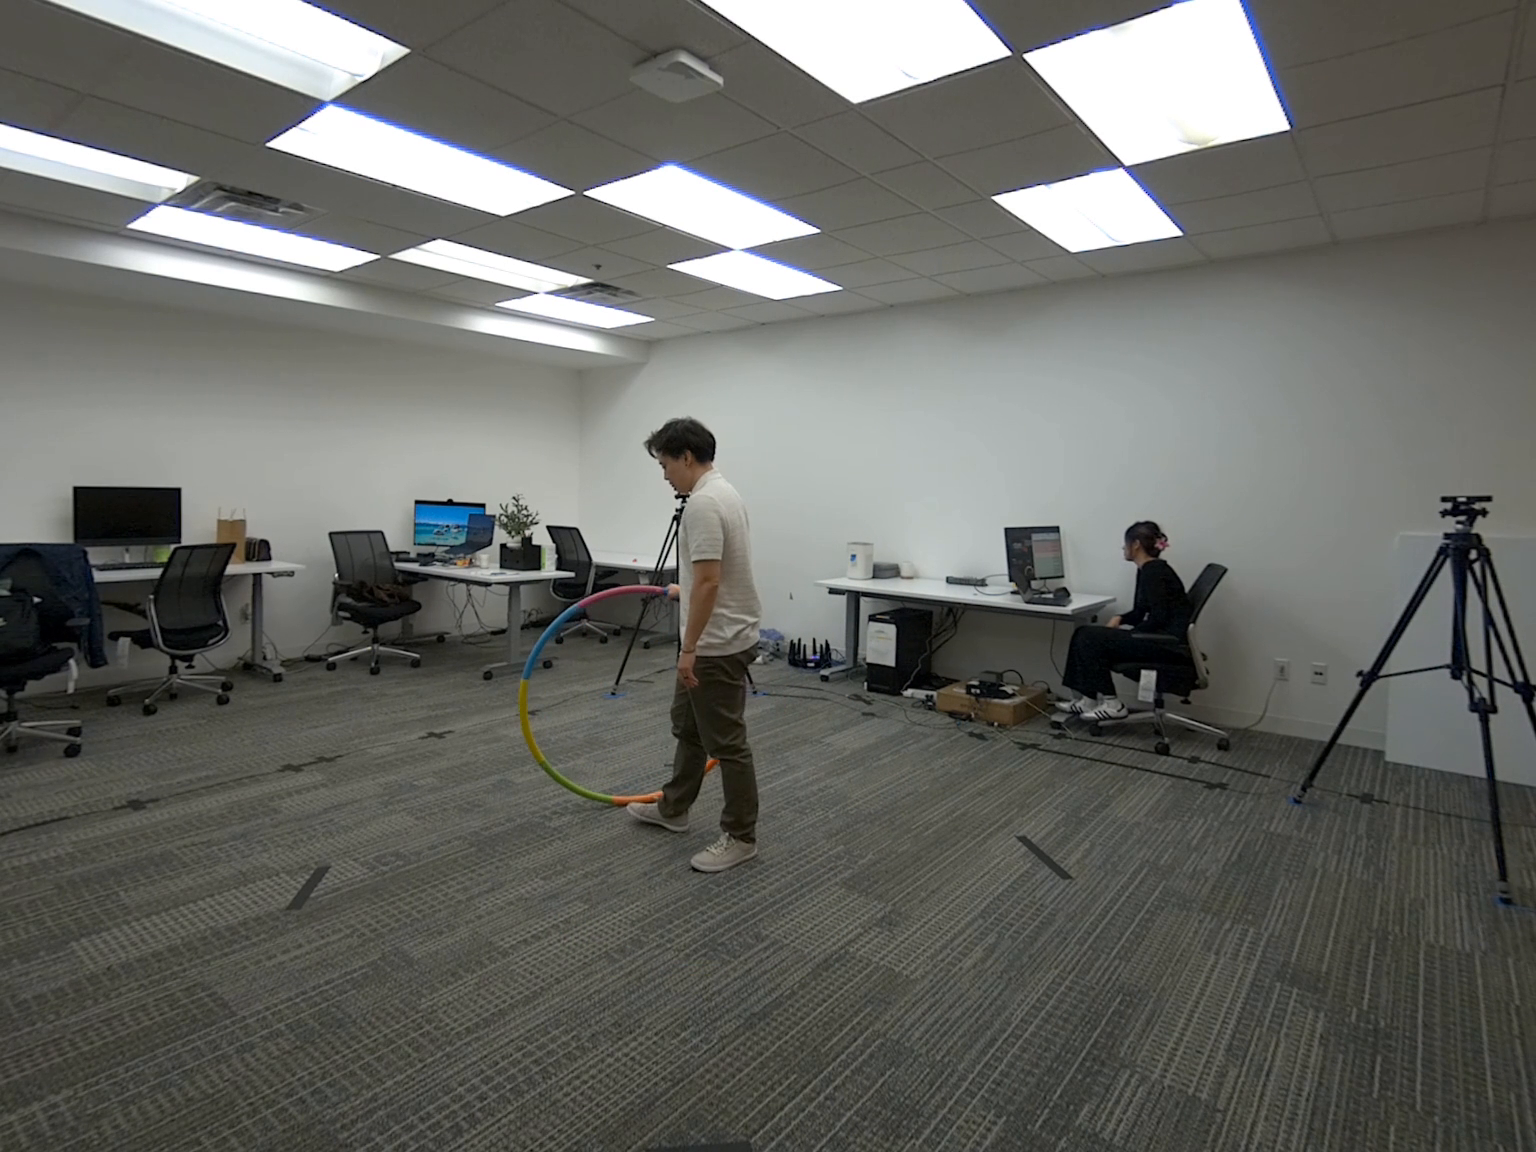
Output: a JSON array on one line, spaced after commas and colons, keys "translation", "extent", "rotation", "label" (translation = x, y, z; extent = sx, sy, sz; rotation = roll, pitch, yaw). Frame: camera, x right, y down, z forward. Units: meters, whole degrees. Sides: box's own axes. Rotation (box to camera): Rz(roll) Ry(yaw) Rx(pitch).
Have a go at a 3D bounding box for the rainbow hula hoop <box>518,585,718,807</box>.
[{"translation": [-0.597, 0.518, 3.682], "extent": [0.961, 0.973, 0.036], "rotation": [0, 6, -17], "label": "rainbow hula hoop"}]
